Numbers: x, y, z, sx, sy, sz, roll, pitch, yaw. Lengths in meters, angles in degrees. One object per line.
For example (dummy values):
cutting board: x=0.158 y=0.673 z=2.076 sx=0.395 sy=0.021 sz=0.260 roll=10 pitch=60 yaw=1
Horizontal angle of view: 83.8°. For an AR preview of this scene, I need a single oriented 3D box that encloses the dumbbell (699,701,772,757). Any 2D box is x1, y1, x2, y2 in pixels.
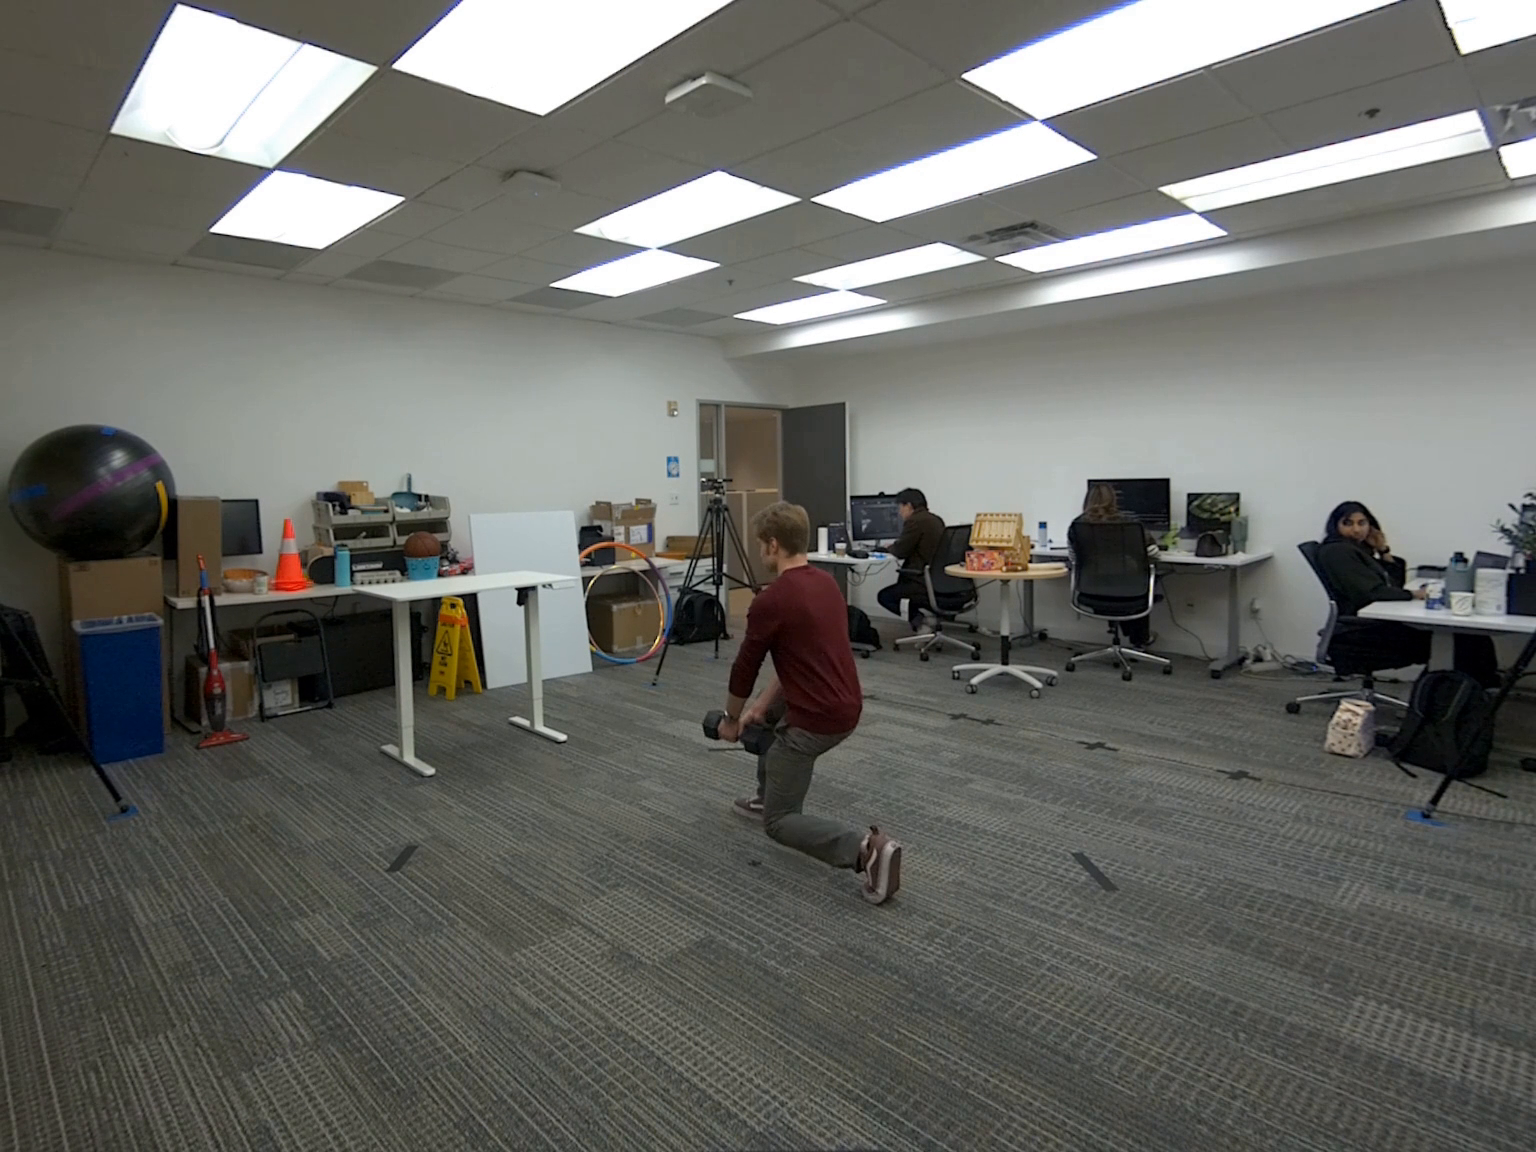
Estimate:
dumbbell: x=-0.110 y=0.614 z=3.410 sx=0.303 sy=0.124 sz=0.104 roll=11 pitch=-28 yaw=39
